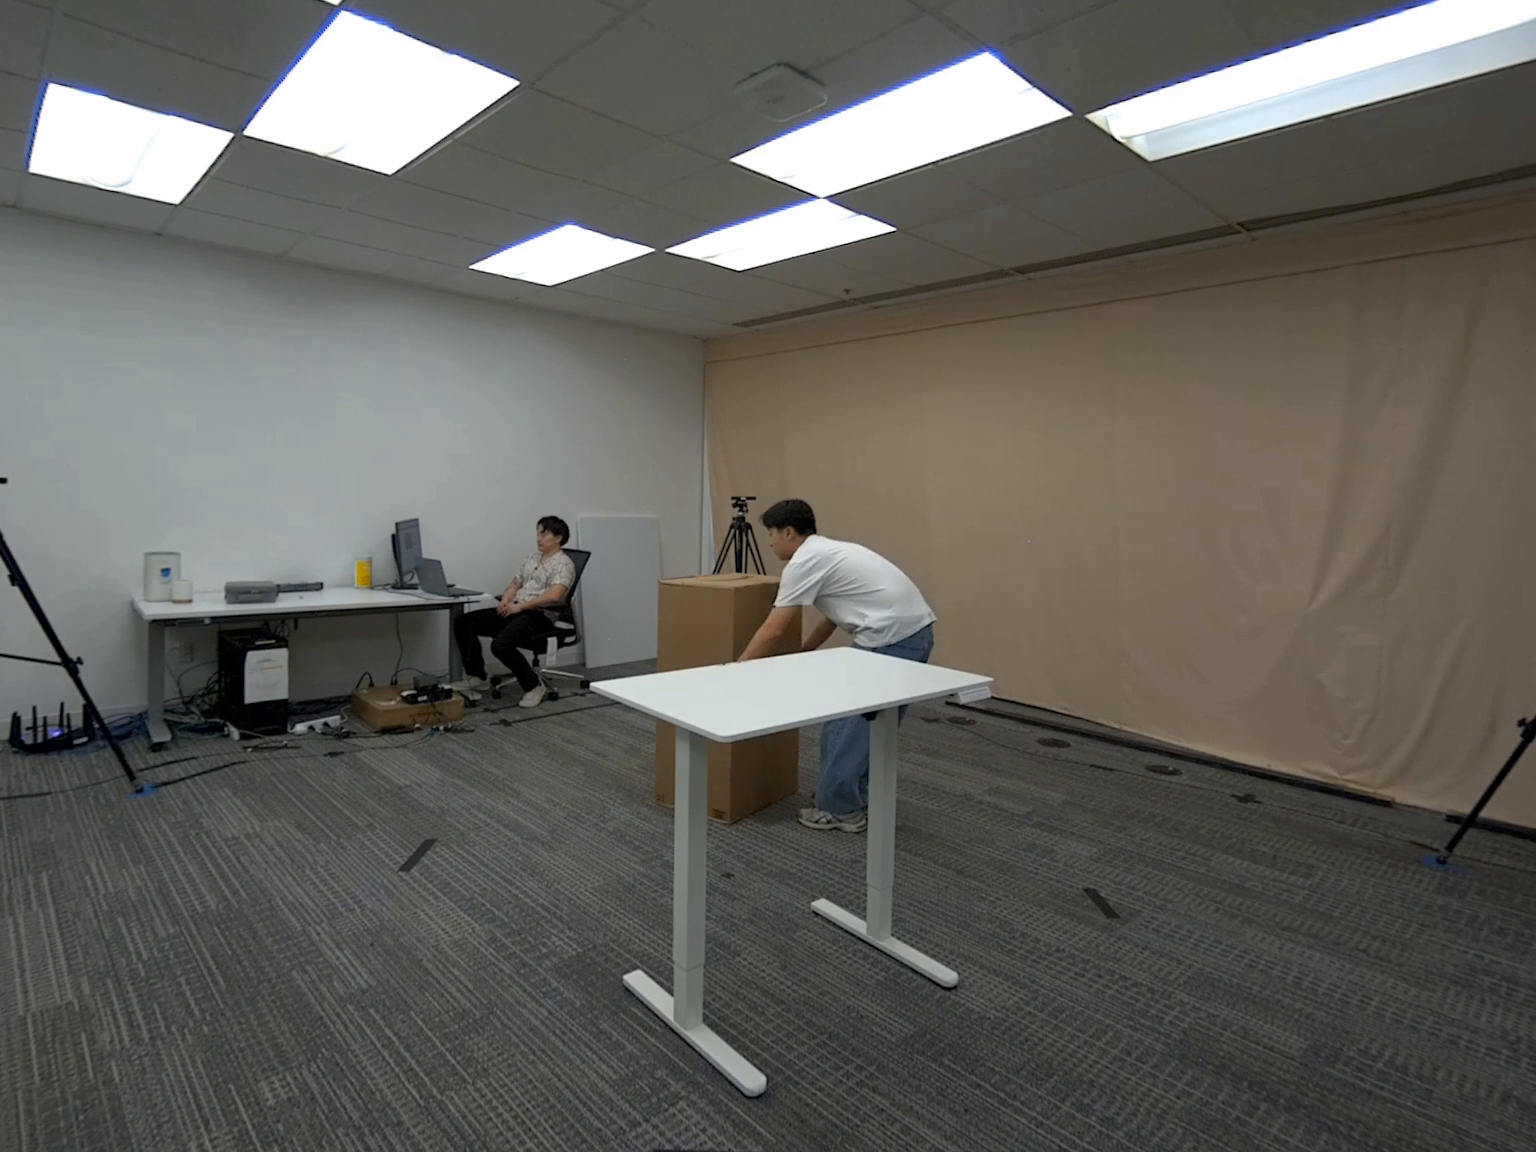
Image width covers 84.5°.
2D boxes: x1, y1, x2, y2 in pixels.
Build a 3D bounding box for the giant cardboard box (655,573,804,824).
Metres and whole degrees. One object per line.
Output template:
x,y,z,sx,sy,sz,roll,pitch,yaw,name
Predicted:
-0.184,0.522,3.915,0.436,1.023,0.565,4,4,35,giant cardboard box
